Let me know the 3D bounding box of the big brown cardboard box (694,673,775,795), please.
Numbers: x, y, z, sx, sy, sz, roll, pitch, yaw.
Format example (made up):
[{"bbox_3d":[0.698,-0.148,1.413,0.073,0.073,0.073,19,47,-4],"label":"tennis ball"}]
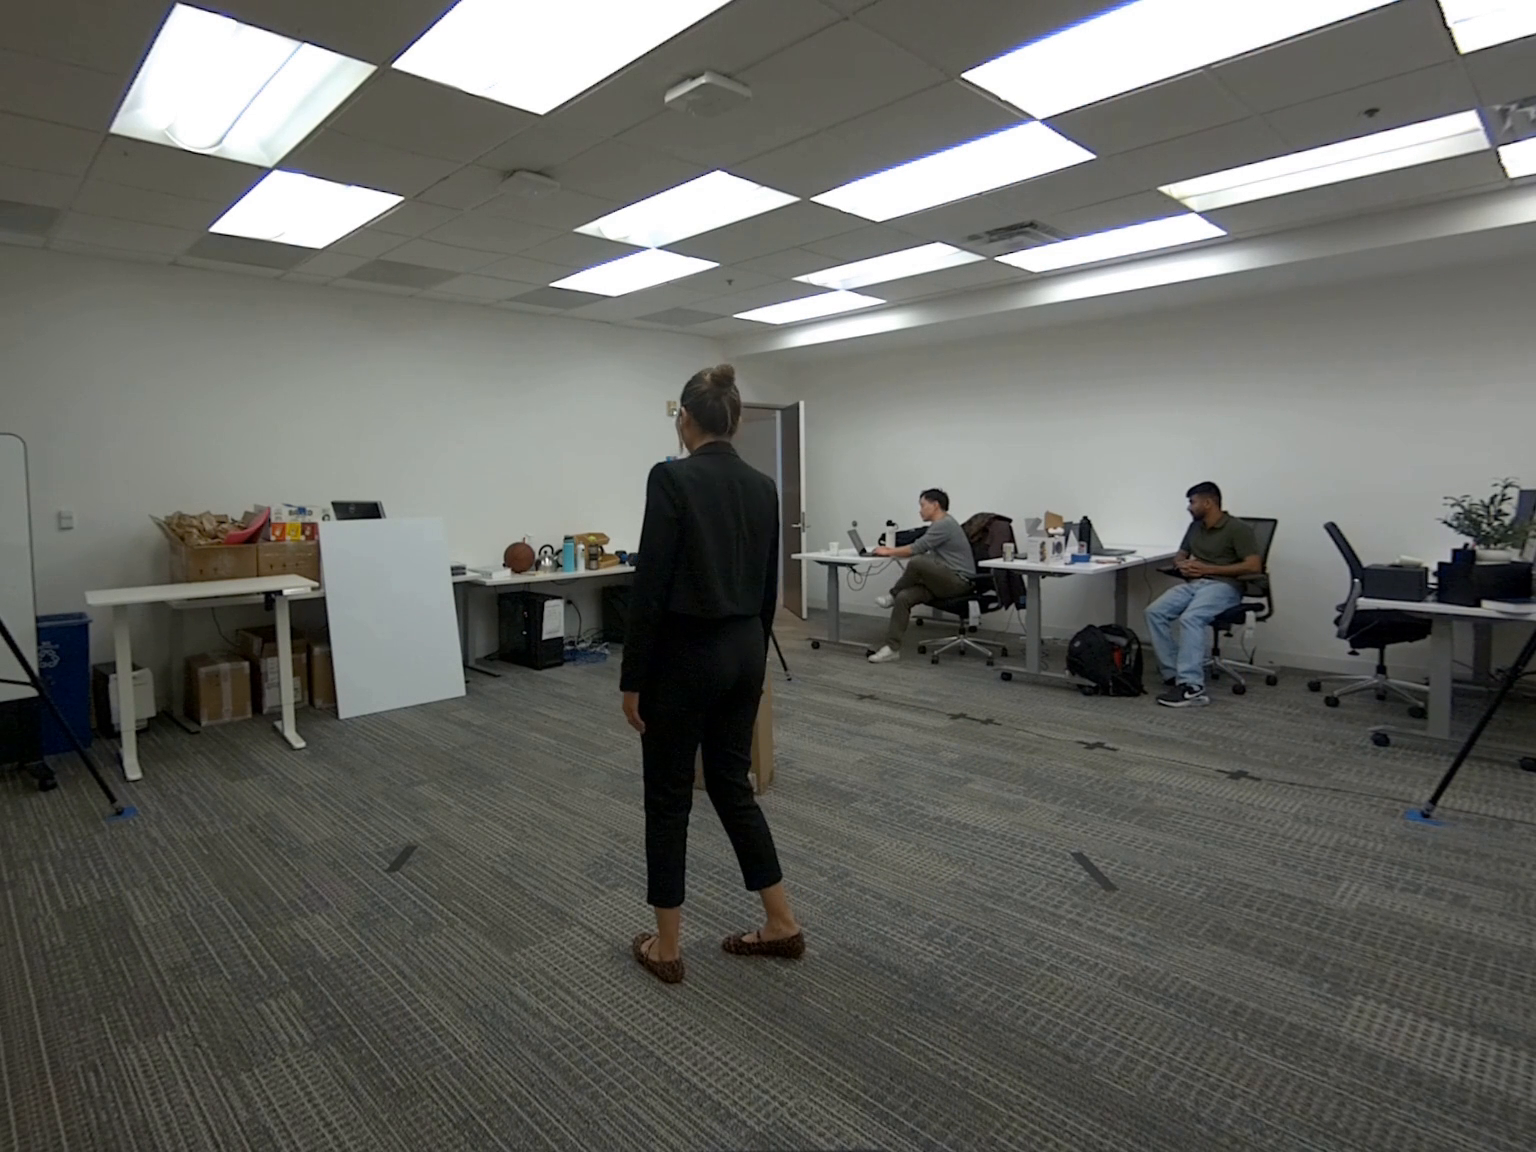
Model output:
[{"bbox_3d":[-0.210,0.678,3.929,0.425,0.588,0.229,-1,2,19],"label":"big brown cardboard box"}]
